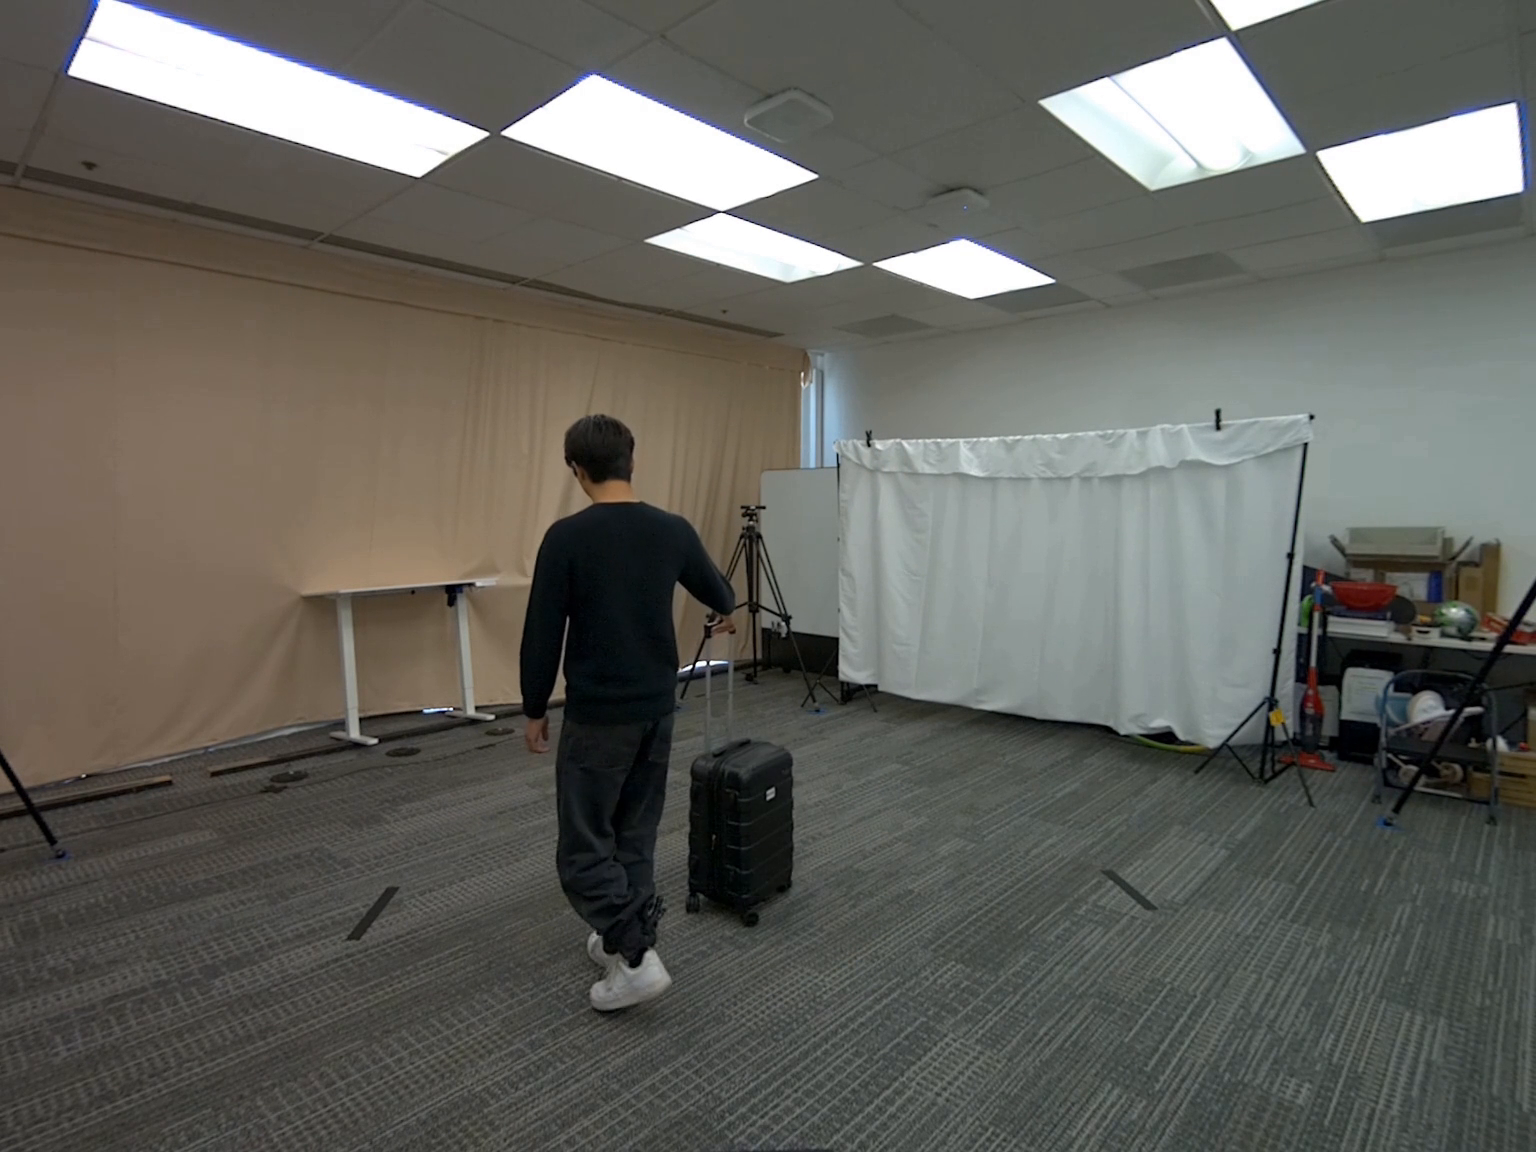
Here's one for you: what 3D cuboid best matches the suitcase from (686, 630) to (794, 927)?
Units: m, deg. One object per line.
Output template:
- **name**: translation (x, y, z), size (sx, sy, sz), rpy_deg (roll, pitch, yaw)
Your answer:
- **suitcase**: translation (-0.081, 0.672, 2.947), size (0.265, 0.976, 0.374), rpy_deg (4, 5, 30)
